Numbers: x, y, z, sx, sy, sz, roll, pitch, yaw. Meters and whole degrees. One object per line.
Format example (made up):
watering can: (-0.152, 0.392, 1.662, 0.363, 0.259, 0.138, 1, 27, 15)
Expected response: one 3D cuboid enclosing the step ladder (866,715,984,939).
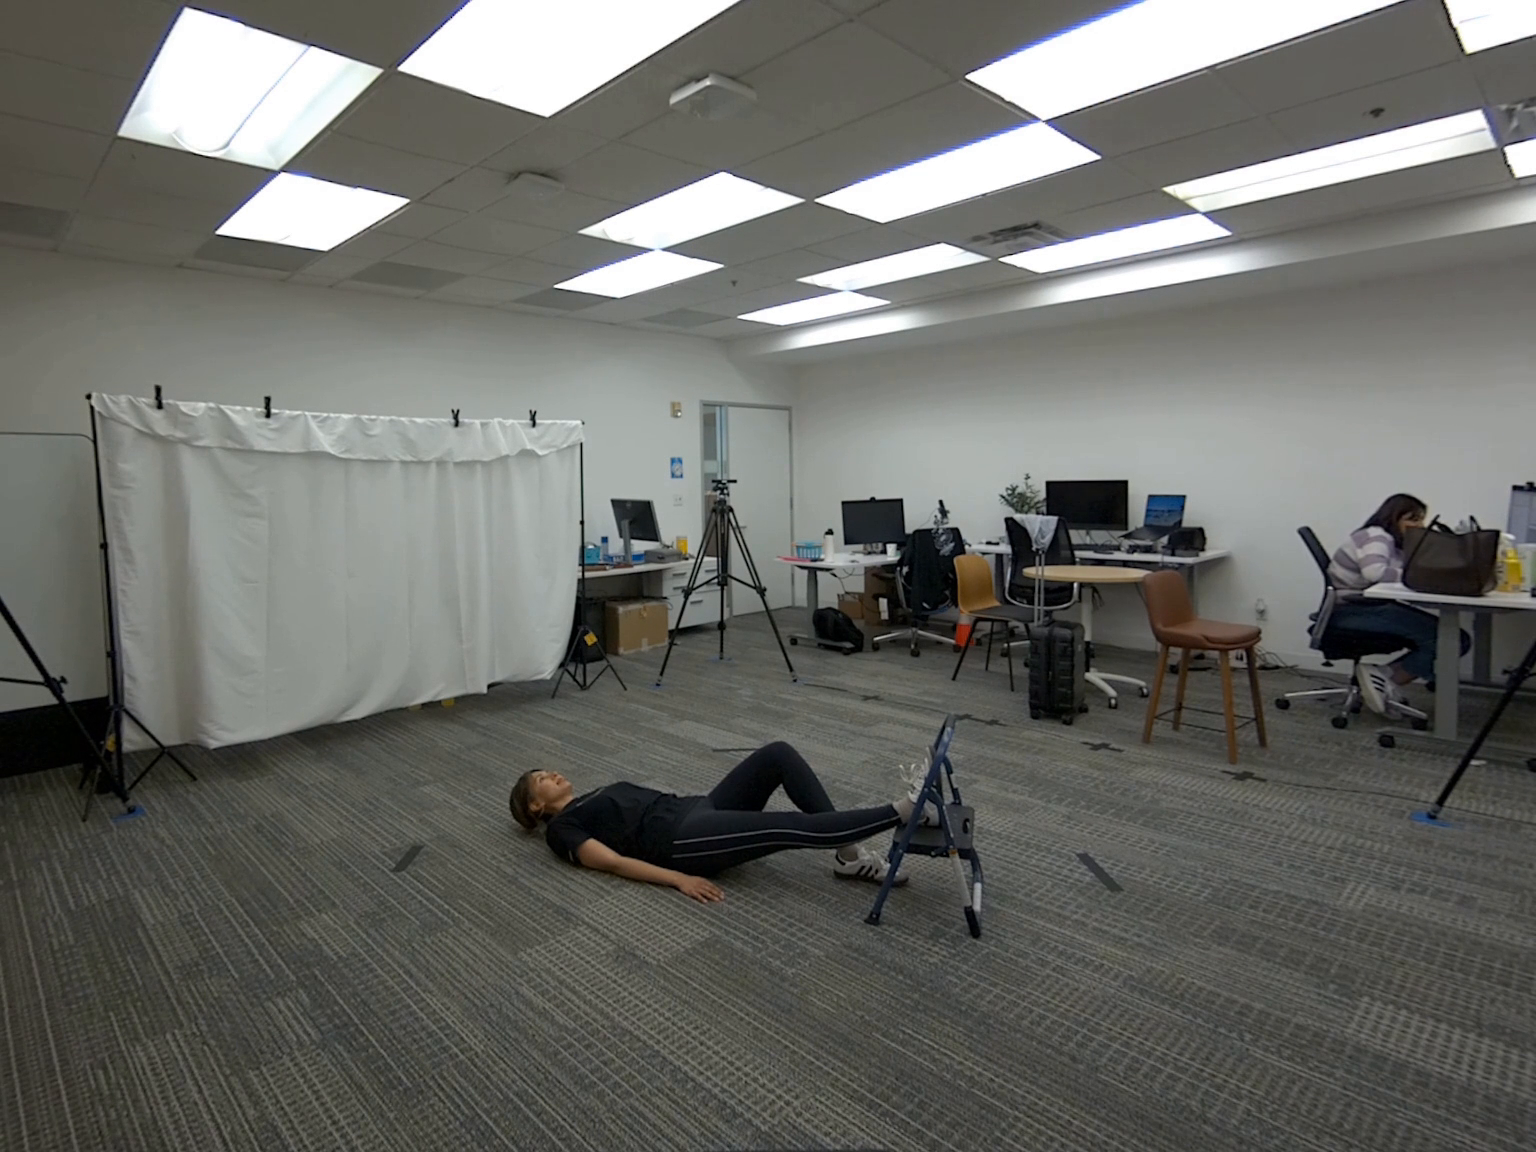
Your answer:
step ladder: (0.529, 0.771, 2.799, 0.355, 0.604, 0.425, 0, 5, 16)
